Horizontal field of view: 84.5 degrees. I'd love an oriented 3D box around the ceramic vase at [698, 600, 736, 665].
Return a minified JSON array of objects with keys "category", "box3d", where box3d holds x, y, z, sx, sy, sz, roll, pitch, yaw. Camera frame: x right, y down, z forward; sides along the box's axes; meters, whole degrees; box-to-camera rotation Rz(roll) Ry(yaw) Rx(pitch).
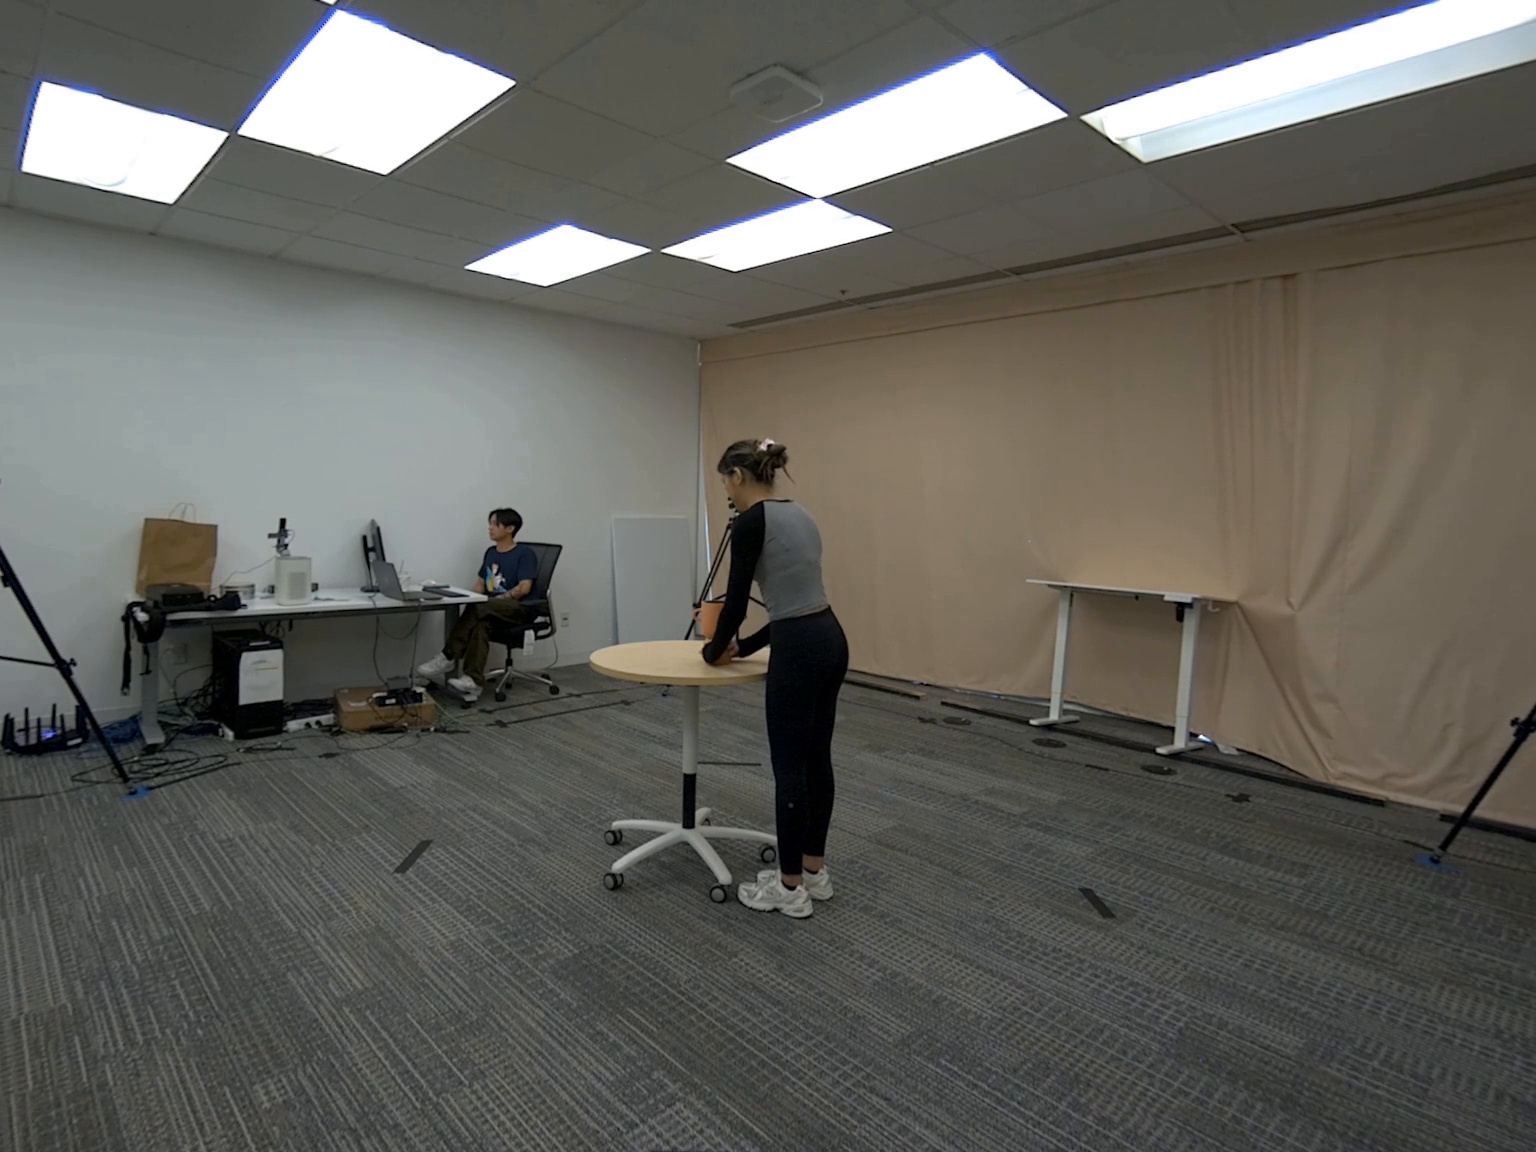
[{"category":"ceramic vase","box3d":[-0.178,0.201,3.068,0.162,0.219,0.132,4,4,33]}]
